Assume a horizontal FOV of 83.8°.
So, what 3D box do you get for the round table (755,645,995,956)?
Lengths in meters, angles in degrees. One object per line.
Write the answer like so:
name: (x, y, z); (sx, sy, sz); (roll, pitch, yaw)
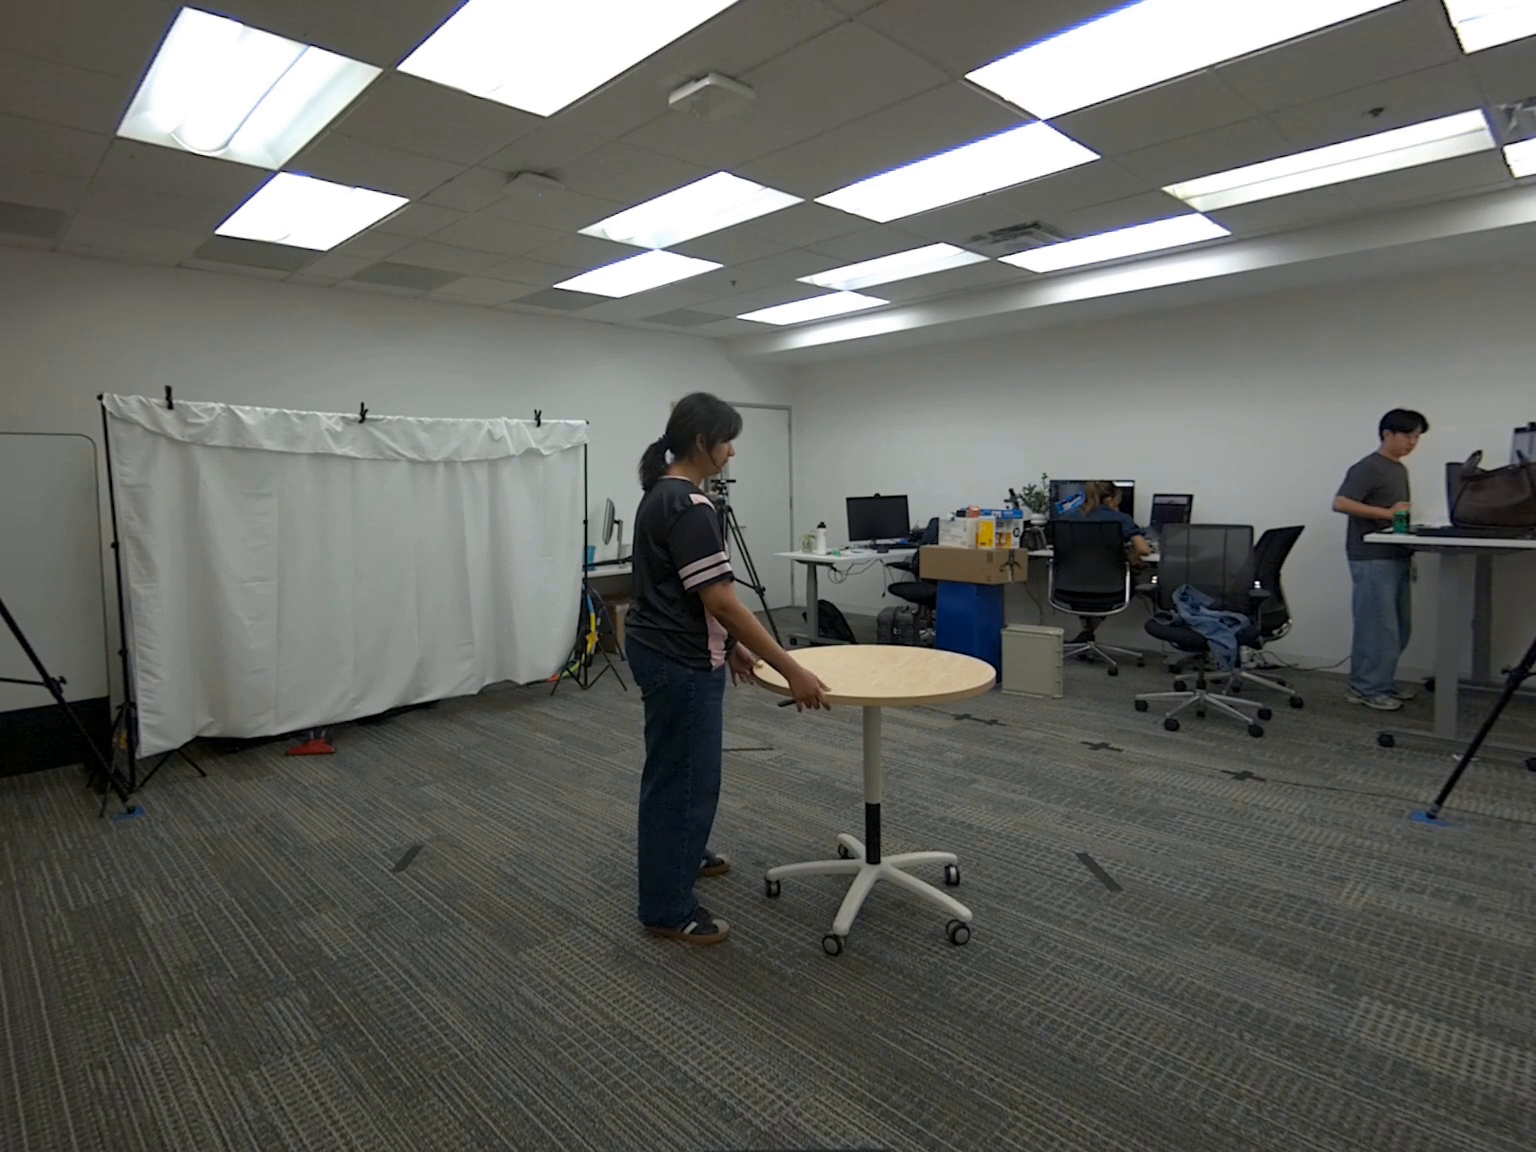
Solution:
round table: (0.343, 0.688, 2.777); (0.763, 0.791, 0.768); (-1, 5, -2)
